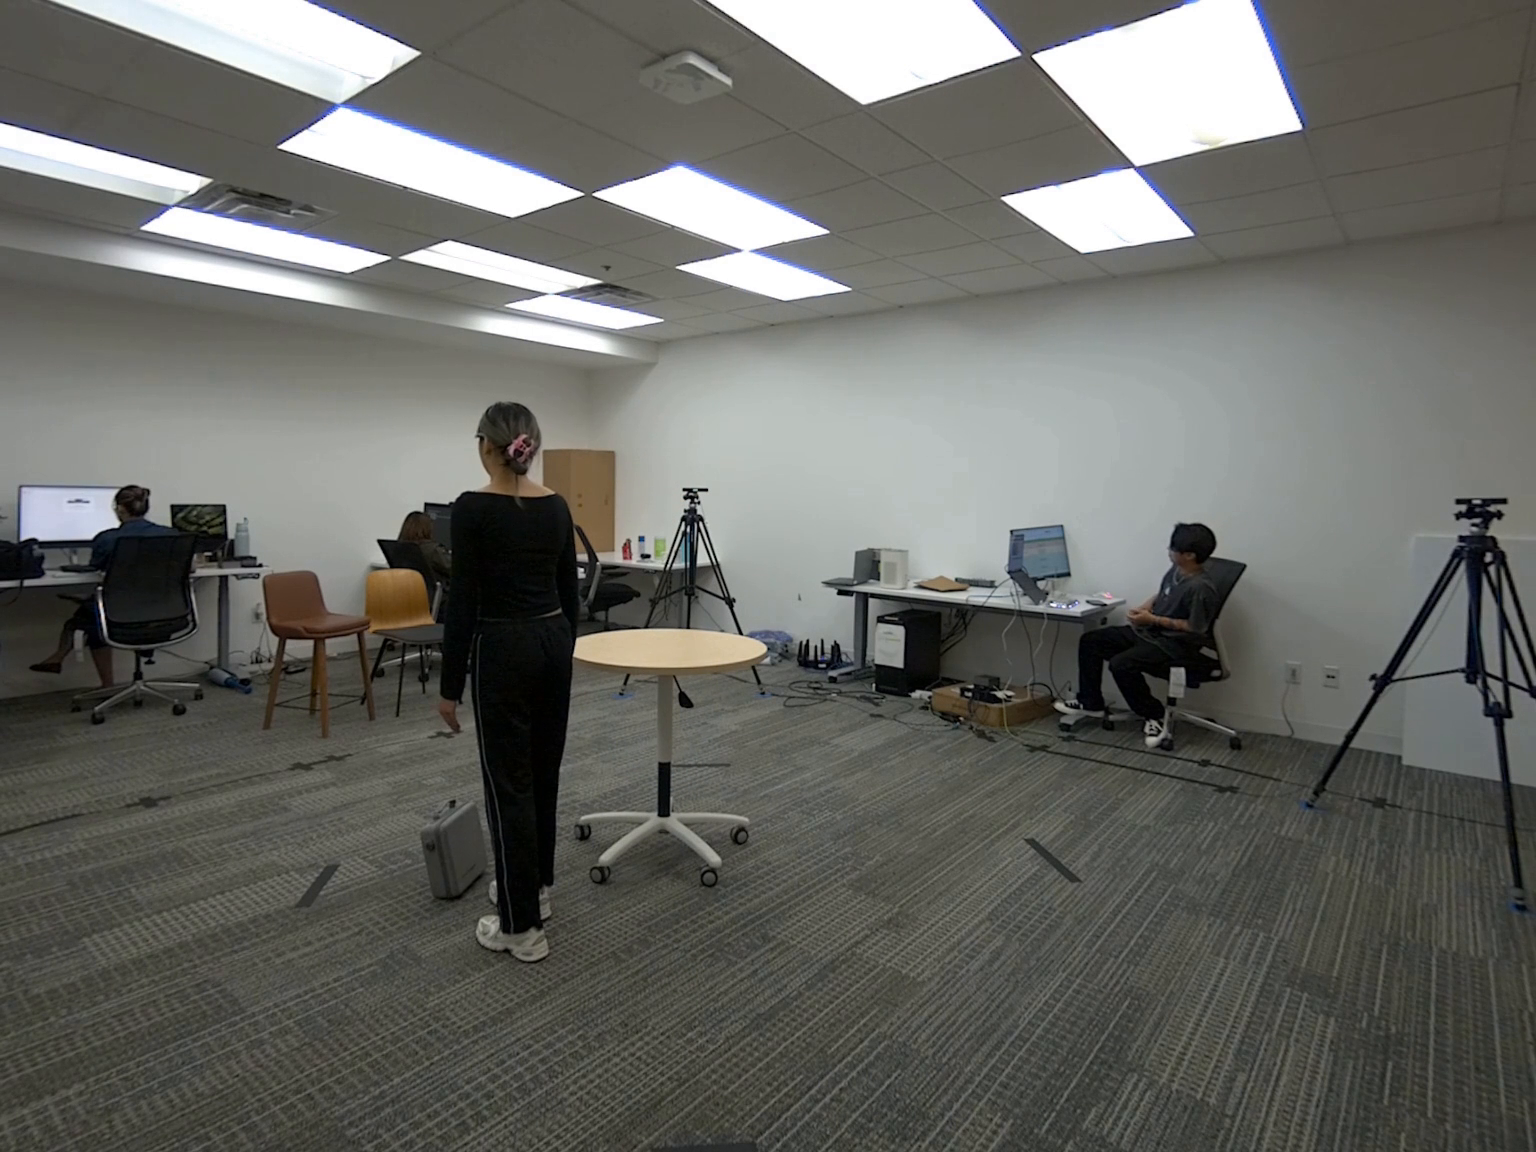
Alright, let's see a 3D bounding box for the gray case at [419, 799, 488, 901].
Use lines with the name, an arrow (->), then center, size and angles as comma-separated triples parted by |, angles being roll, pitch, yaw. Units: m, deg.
gray case -> -1.095, 0.940, 2.949 | 0.105, 0.260, 0.255 | -10, 2, 7
